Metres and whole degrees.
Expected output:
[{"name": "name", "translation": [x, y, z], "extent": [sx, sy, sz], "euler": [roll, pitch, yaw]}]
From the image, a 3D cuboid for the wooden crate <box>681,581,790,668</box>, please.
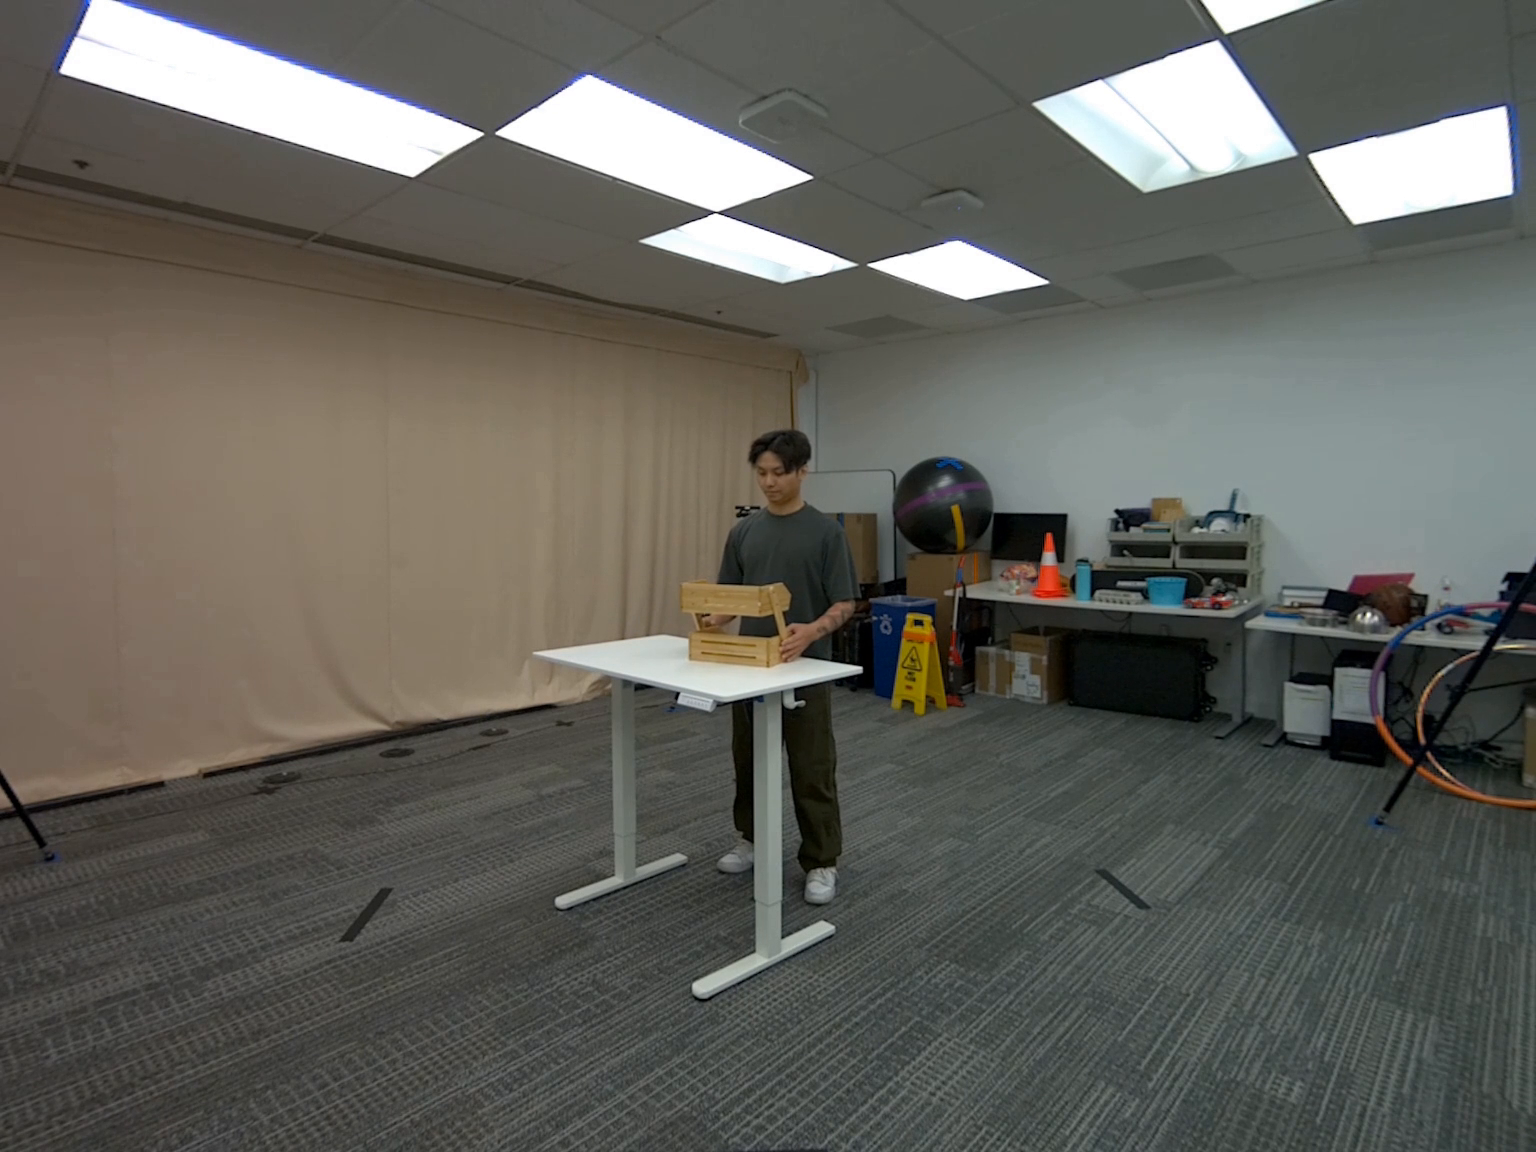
[{"name": "wooden crate", "translation": [-0.088, 0.146, 2.800], "extent": [0.334, 0.273, 0.294], "euler": [2, 4, 29]}]
